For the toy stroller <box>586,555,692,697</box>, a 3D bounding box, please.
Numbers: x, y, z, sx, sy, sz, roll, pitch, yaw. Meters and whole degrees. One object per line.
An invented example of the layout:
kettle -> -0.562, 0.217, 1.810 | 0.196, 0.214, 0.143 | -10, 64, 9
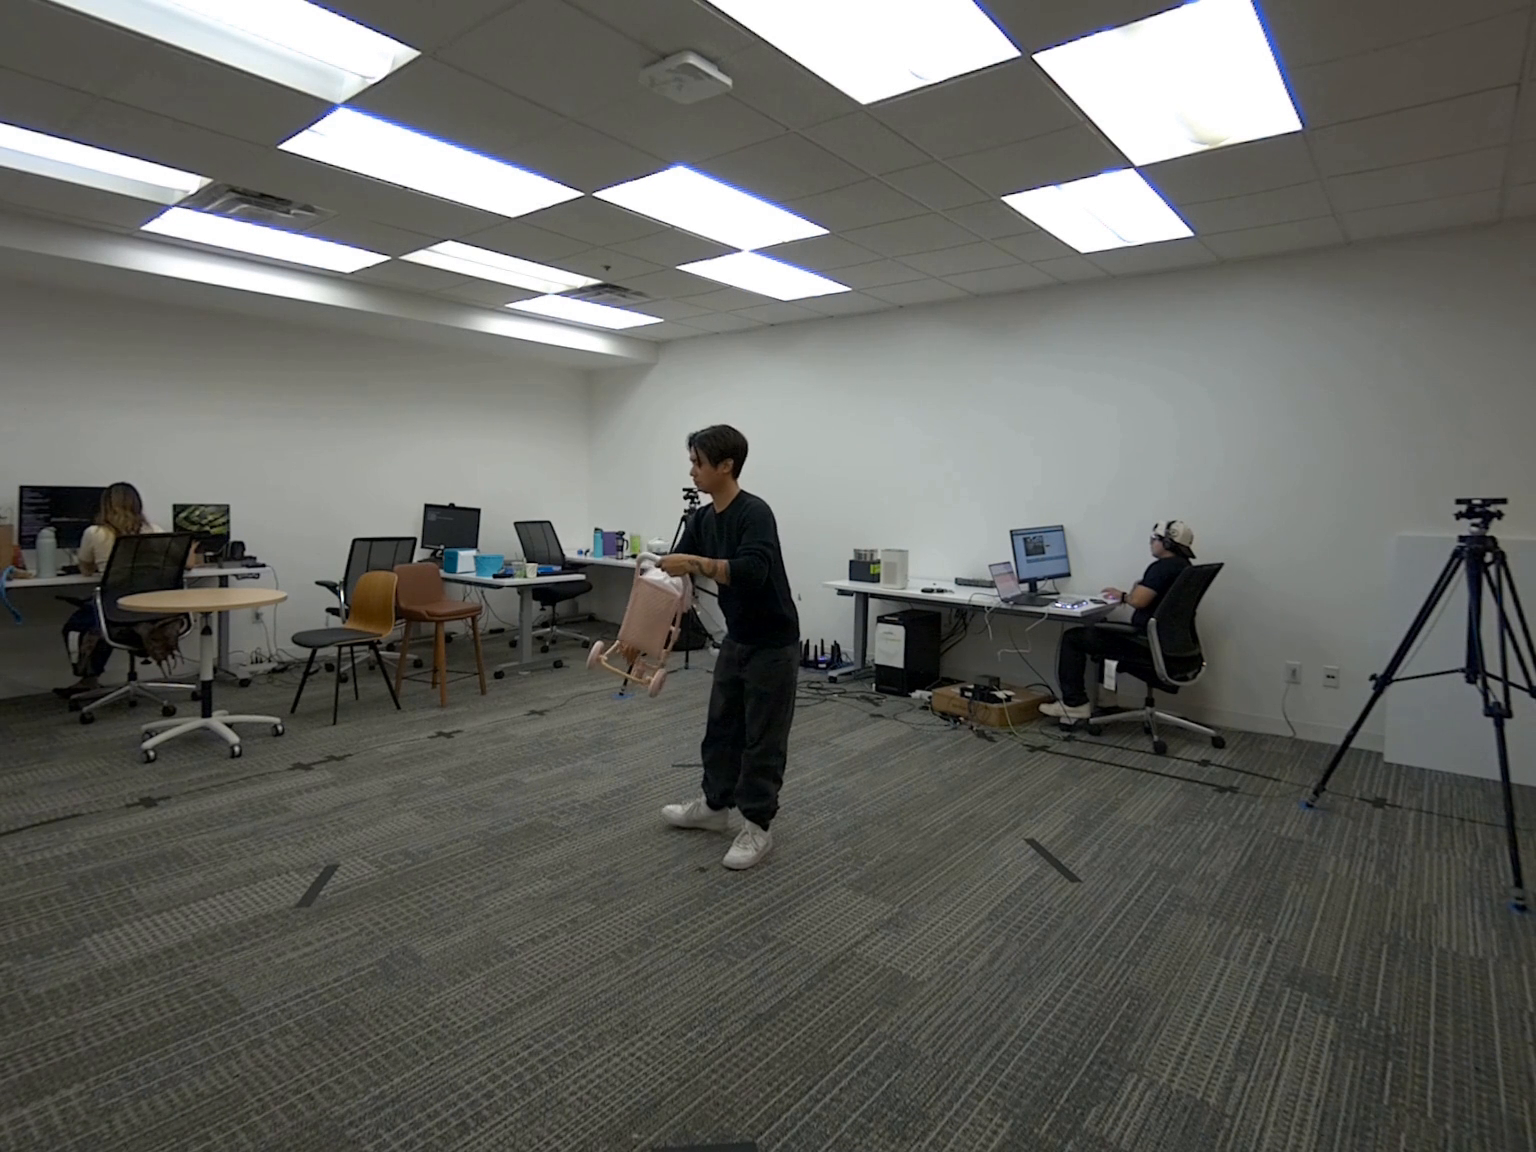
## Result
toy stroller -> -0.450, 0.176, 3.151 | 0.286, 0.533, 0.337 | 22, 5, 10
